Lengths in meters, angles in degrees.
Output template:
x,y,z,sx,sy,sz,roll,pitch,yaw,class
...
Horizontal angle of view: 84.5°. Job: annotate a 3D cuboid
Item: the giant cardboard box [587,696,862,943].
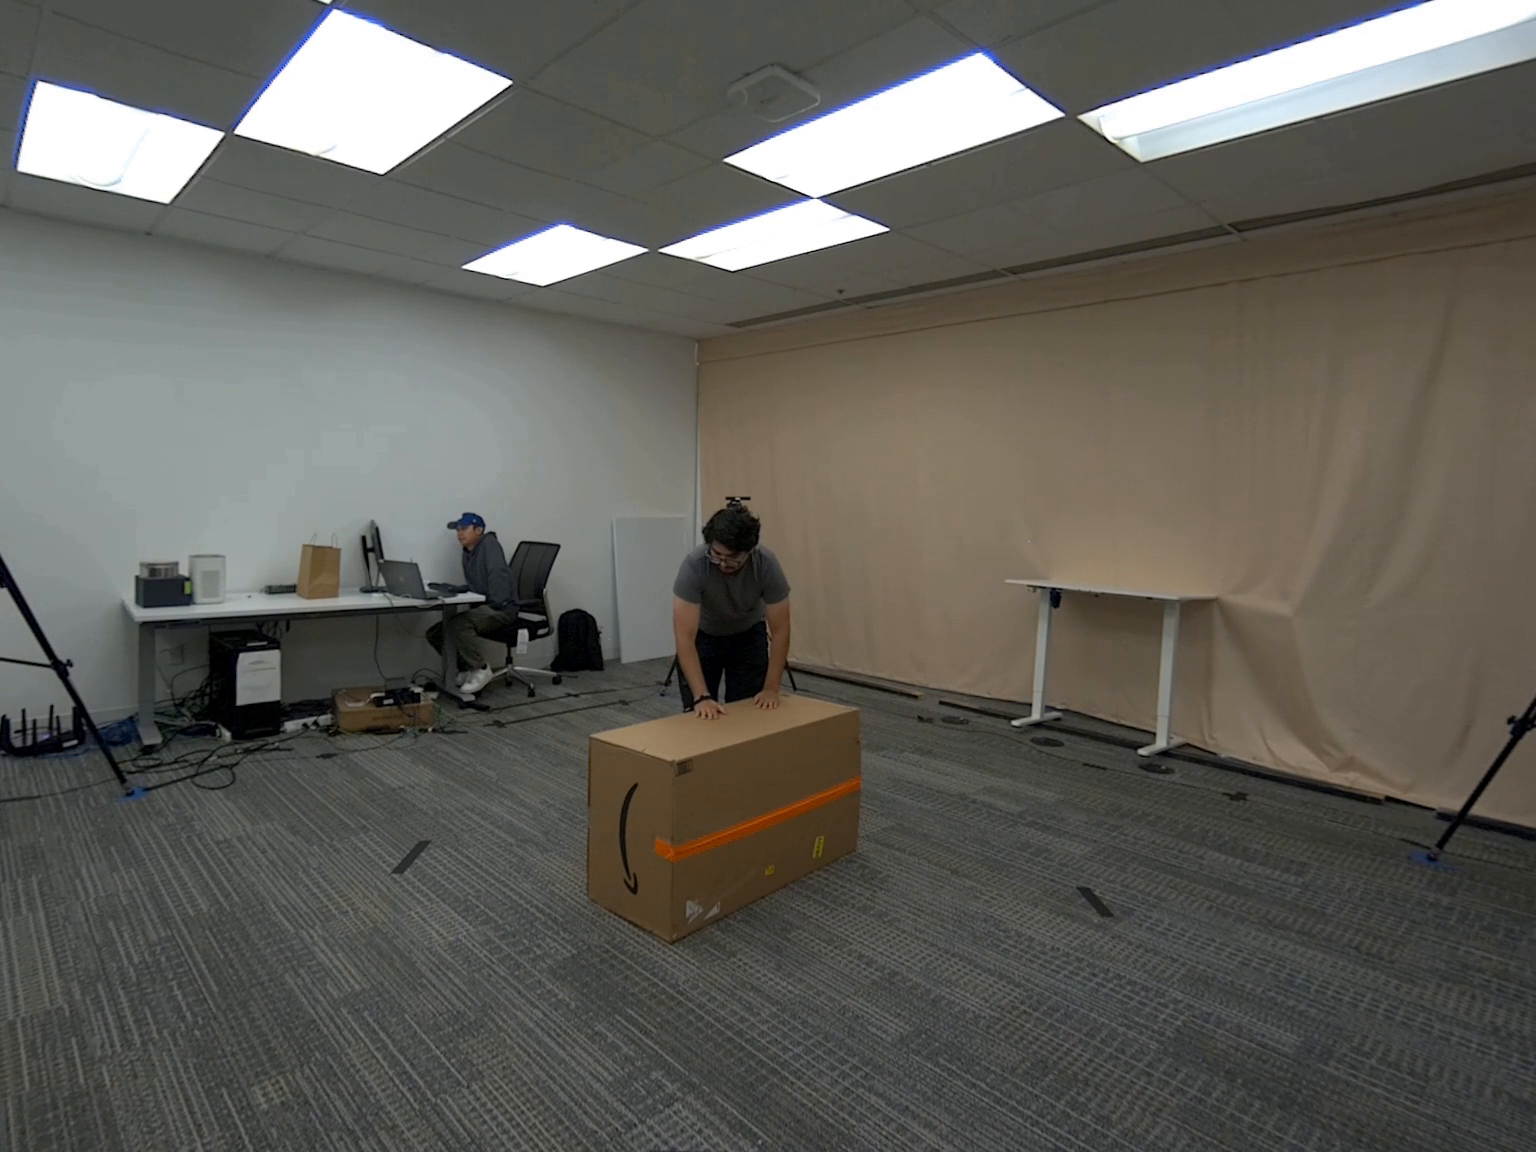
x,y,z,sx,sy,sz,roll,pitch,yaw,class
-0.131,0.818,3.108,0.437,0.576,1.003,5,5,41,giant cardboard box
